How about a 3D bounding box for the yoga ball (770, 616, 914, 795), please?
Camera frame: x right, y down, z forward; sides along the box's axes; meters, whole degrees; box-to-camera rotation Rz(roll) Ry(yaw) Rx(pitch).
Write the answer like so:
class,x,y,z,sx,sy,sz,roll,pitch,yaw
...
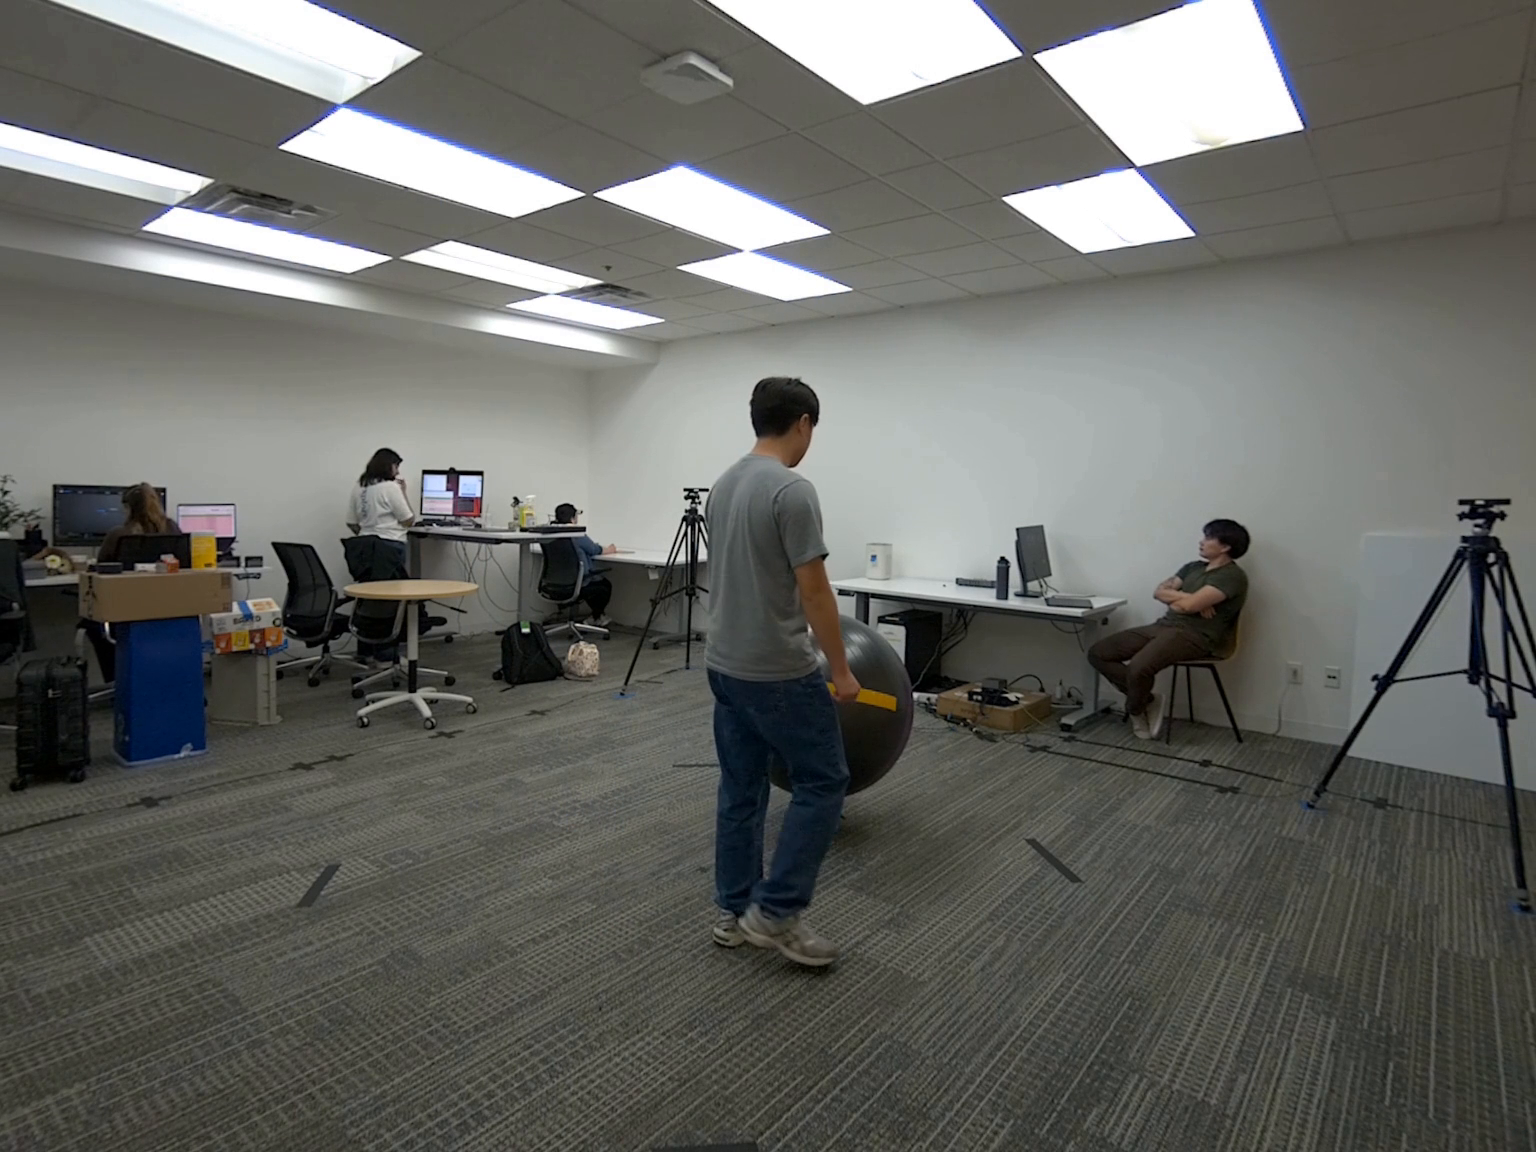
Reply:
class,x,y,z,sx,sy,sz,roll,pitch,yaw
yoga ball,0.203,0.524,3.521,0.757,0.755,0.762,1,4,-2
